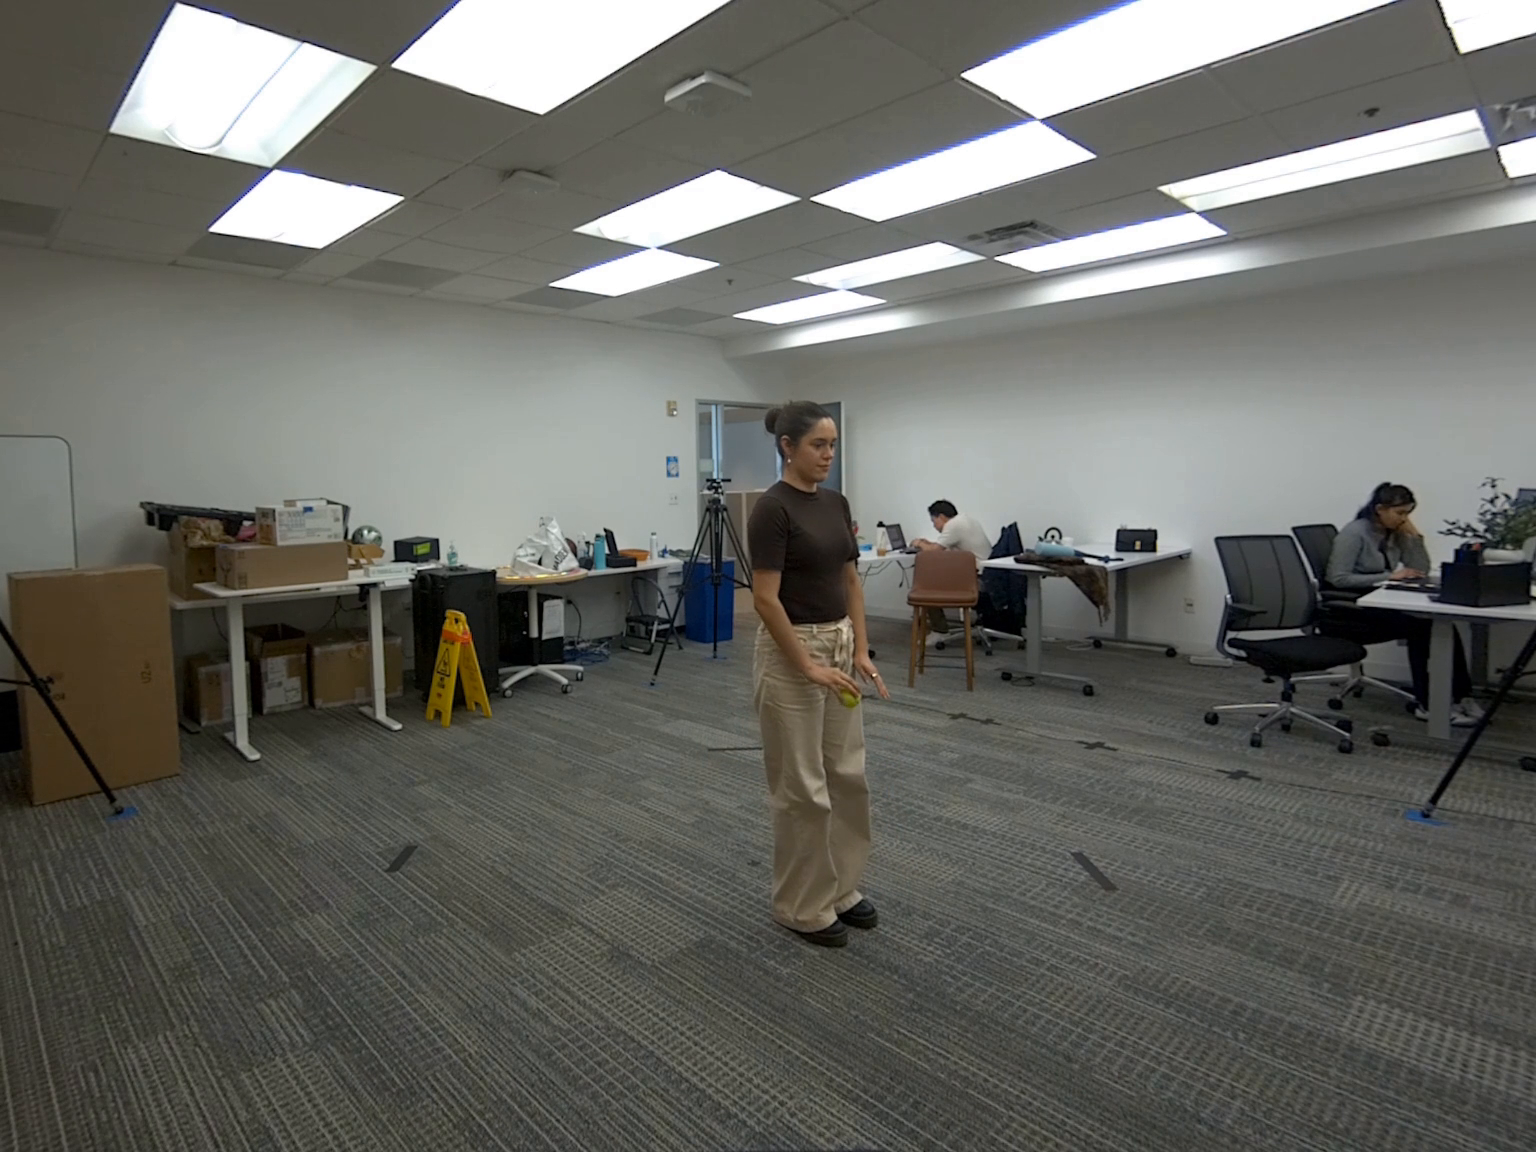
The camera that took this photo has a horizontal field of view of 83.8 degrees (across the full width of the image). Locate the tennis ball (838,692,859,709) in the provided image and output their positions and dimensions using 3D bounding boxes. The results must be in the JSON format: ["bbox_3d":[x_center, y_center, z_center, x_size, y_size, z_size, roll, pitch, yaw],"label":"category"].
[{"bbox_3d":[0.198,0.357,2.466,0.066,0.066,0.067,-1,5,-2],"label":"tennis ball"}]
